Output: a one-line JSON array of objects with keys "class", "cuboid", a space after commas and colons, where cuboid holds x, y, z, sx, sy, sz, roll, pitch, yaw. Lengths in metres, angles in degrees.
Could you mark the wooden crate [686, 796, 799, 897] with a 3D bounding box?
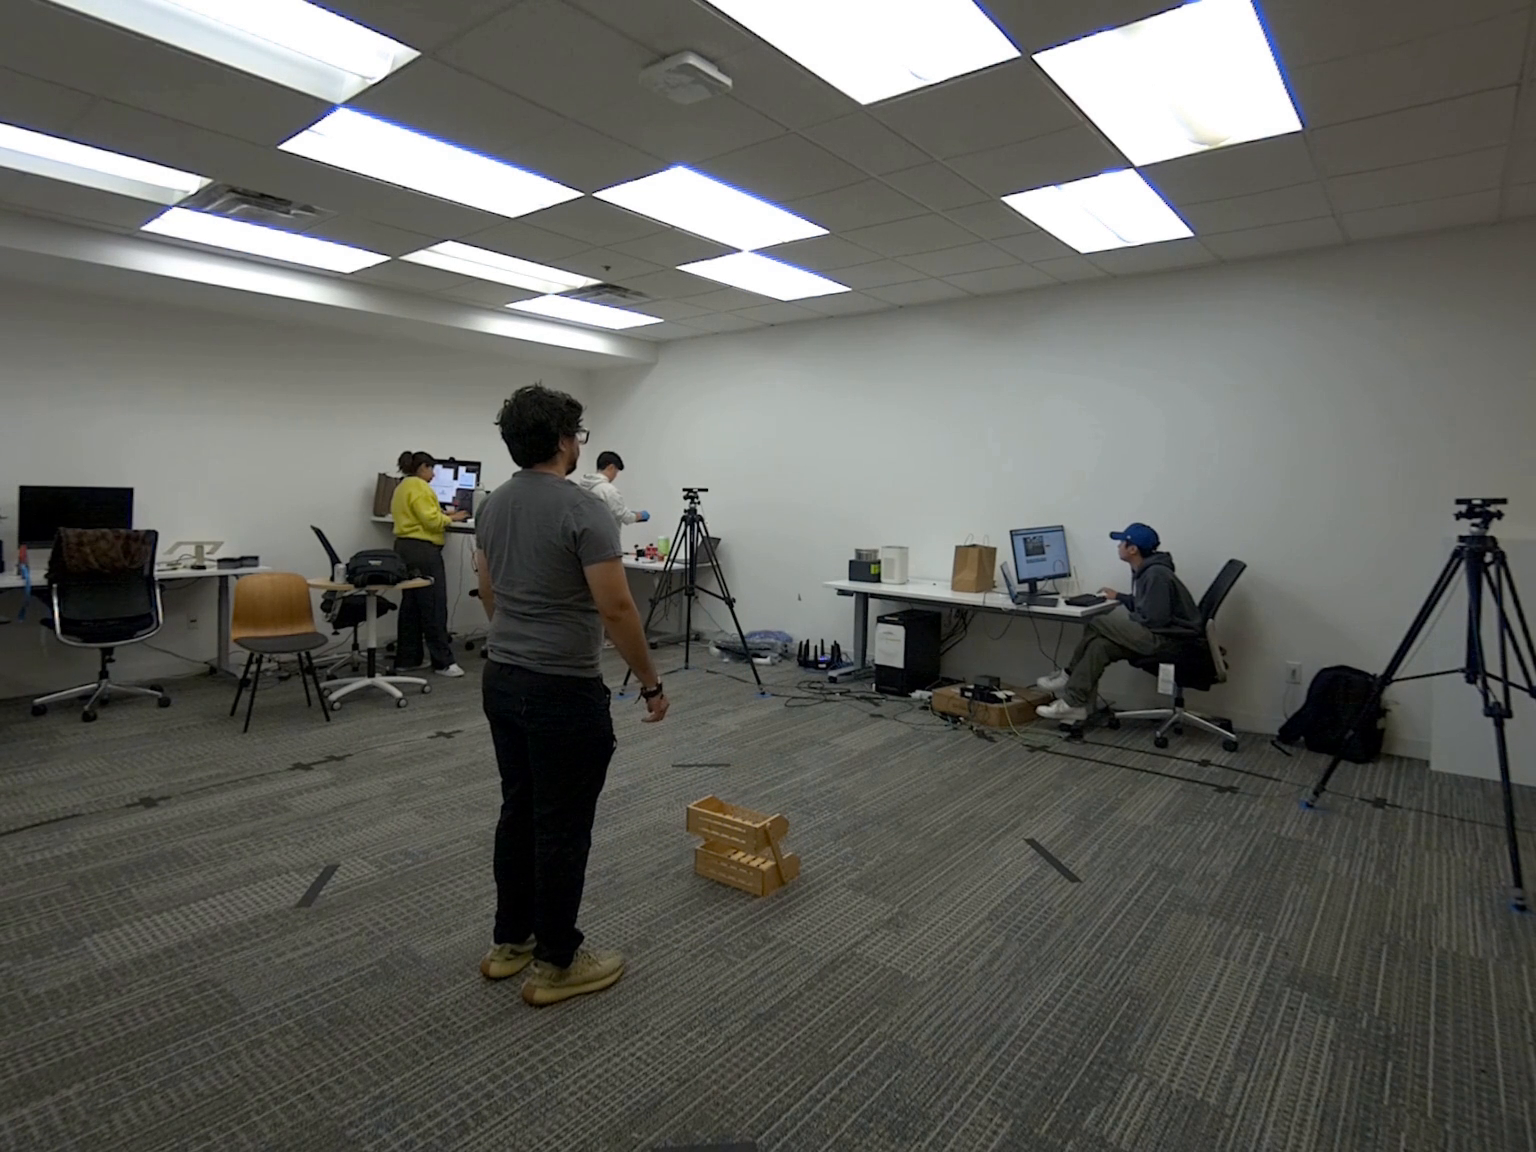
[{"class": "wooden crate", "cuboid": [-0.094, 0.942, 3.064, 0.335, 0.272, 0.294, 4, 5, 34]}]
